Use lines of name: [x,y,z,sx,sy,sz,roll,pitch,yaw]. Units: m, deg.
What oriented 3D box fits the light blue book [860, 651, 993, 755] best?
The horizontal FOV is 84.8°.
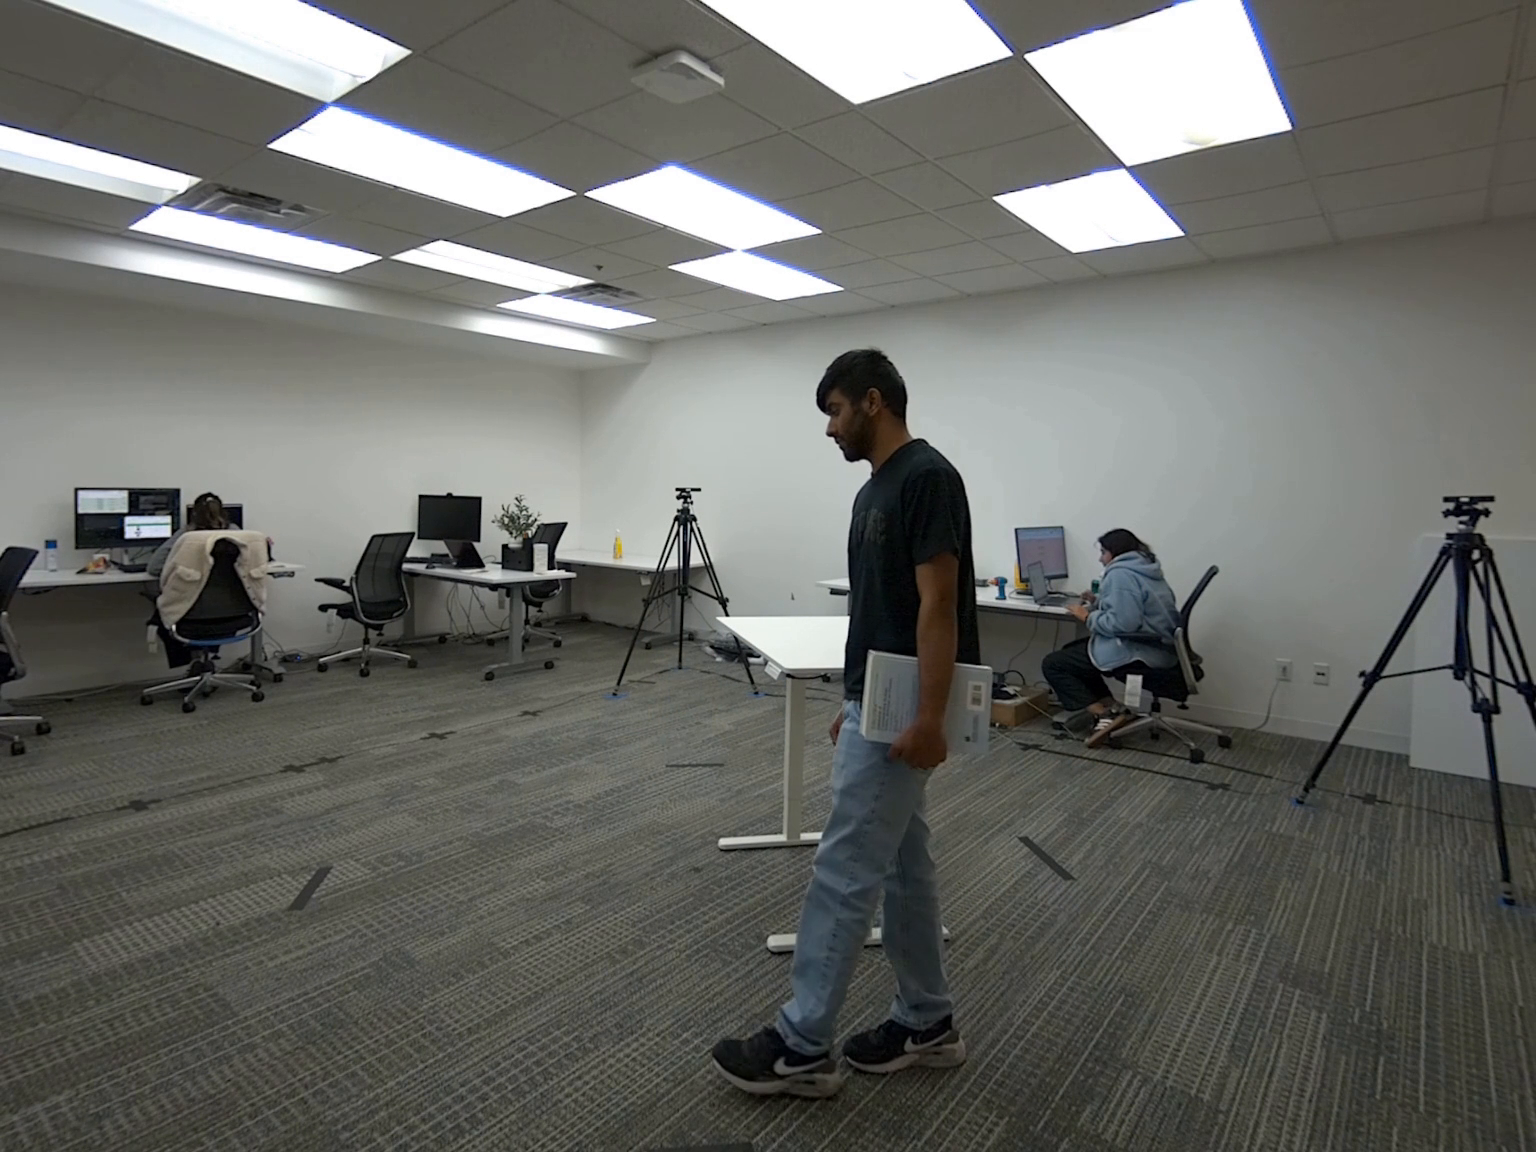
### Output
light blue book: [0.346,0.273,1.855,0.262,0.193,0.058,6,-10,2]
